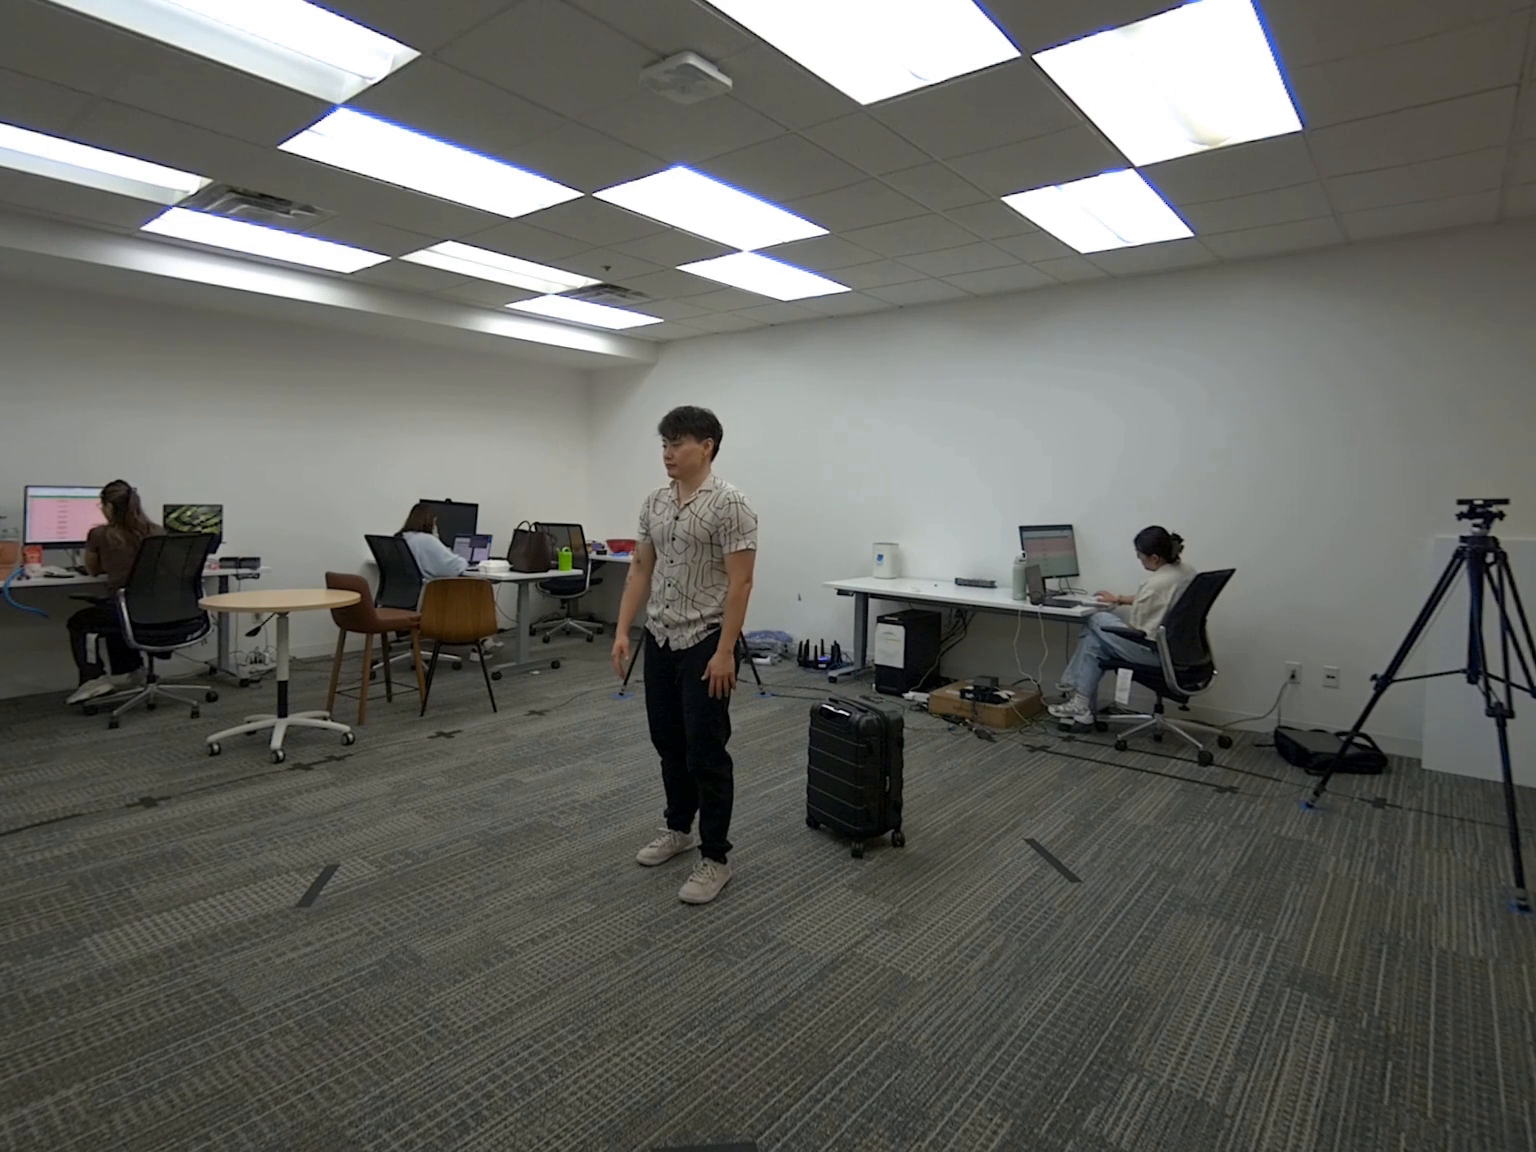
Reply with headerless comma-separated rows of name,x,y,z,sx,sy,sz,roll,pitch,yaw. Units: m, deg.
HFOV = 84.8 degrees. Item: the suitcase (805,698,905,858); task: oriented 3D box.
suitcase,0.342,0.774,3.438,0.241,0.548,0.387,-1,4,-34
